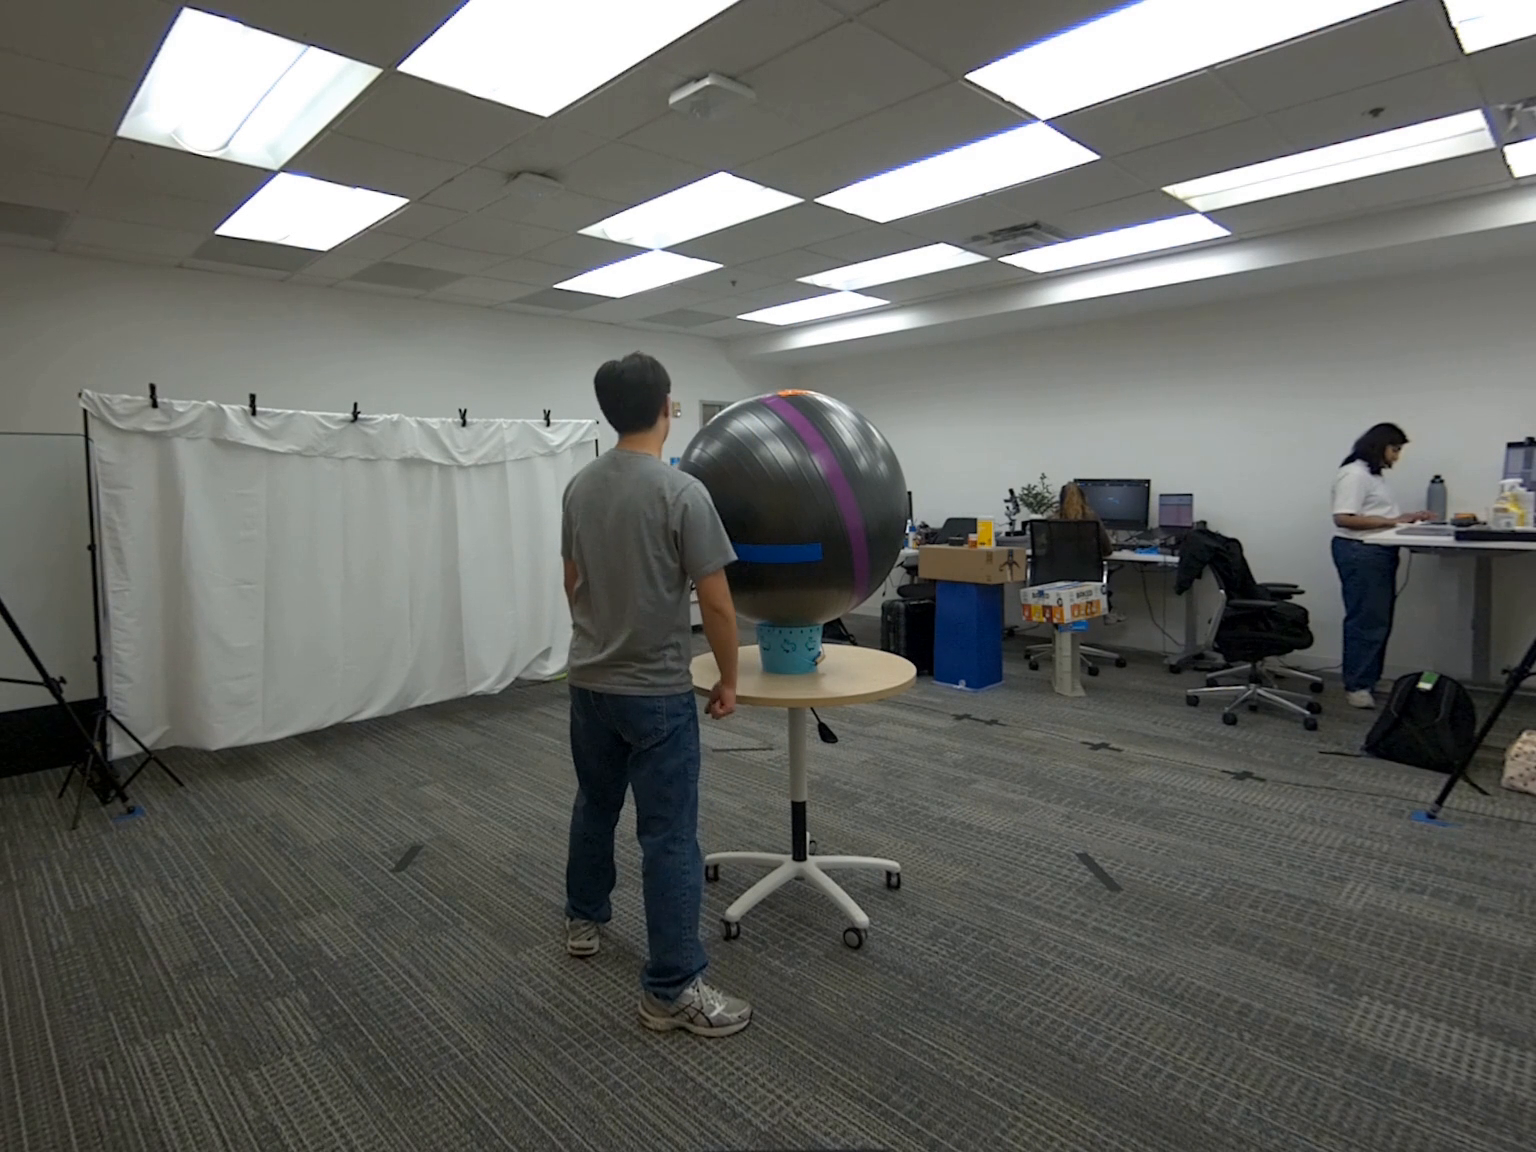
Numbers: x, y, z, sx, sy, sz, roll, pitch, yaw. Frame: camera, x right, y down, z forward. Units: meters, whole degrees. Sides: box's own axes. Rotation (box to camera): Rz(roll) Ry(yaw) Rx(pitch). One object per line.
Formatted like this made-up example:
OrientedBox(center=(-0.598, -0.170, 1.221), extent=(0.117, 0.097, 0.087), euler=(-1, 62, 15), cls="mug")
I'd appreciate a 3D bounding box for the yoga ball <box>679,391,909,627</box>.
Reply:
OrientedBox(center=(0.066, -0.210, 2.741), extent=(0.757, 0.755, 0.762), euler=(-1, 5, -2), cls="yoga ball")
